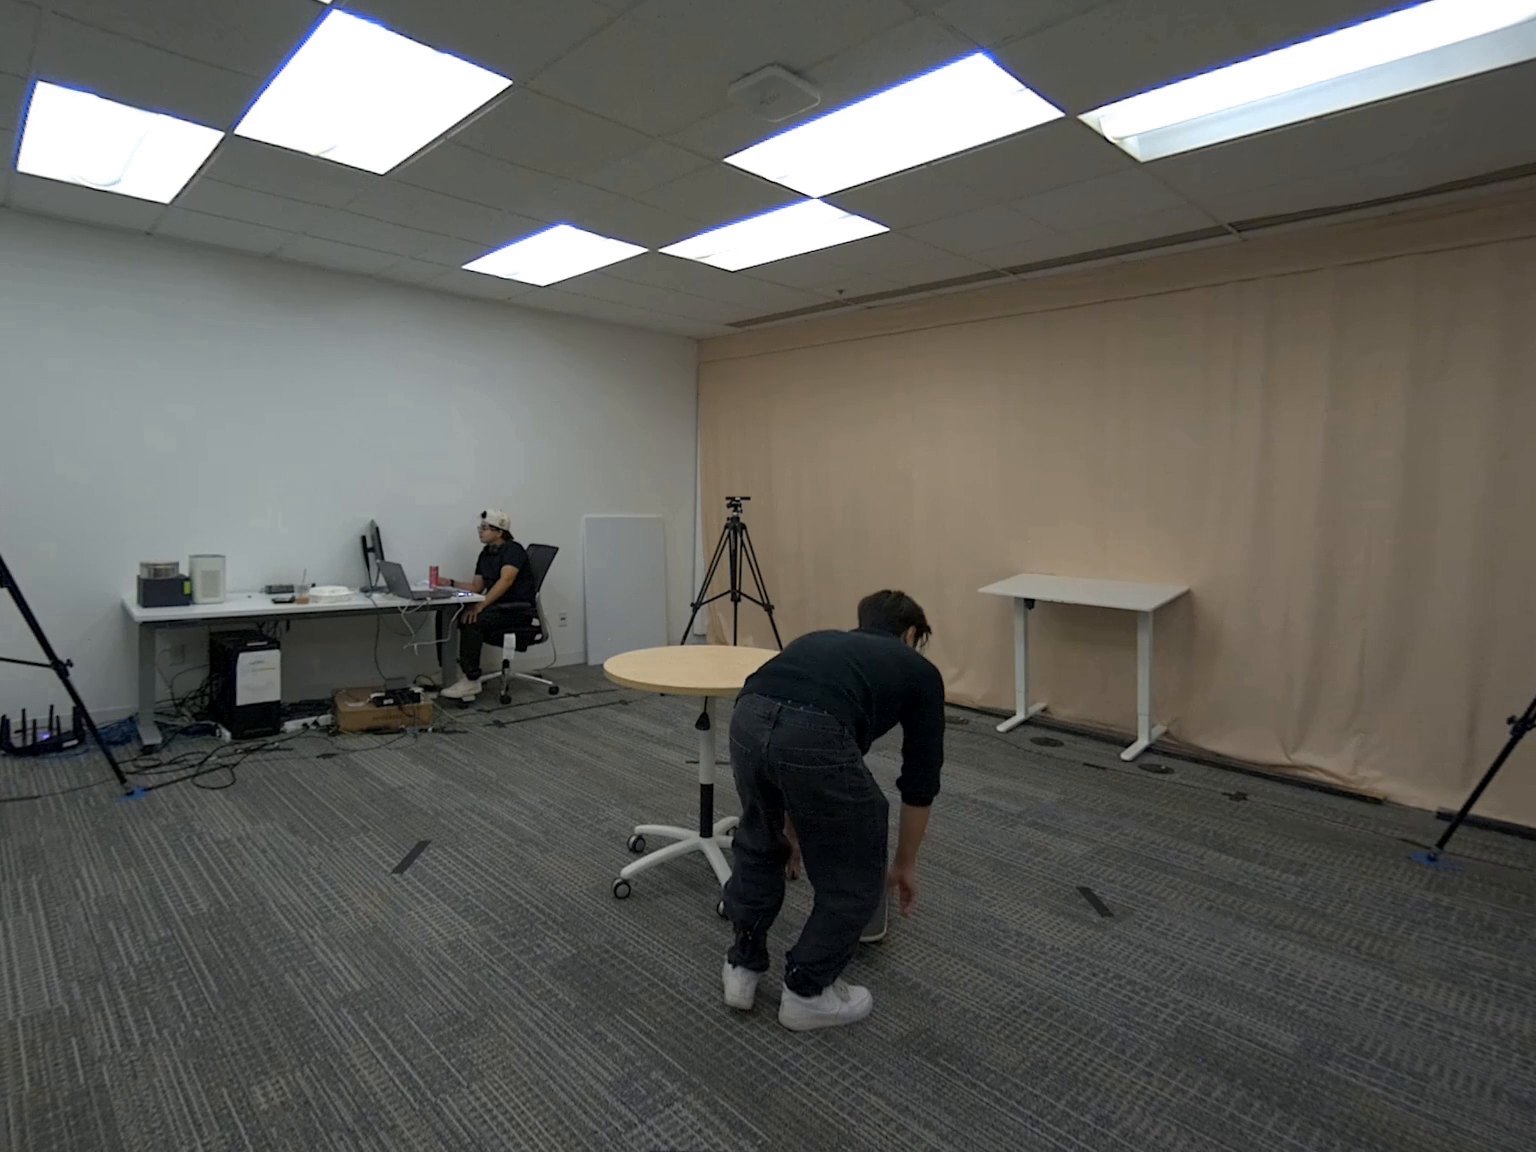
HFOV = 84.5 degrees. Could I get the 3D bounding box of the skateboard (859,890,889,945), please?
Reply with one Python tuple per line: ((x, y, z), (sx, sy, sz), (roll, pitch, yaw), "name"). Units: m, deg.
((0.307, 1.083, 2.870), (0.195, 0.110, 0.781), (2, 6, 10), "skateboard")
